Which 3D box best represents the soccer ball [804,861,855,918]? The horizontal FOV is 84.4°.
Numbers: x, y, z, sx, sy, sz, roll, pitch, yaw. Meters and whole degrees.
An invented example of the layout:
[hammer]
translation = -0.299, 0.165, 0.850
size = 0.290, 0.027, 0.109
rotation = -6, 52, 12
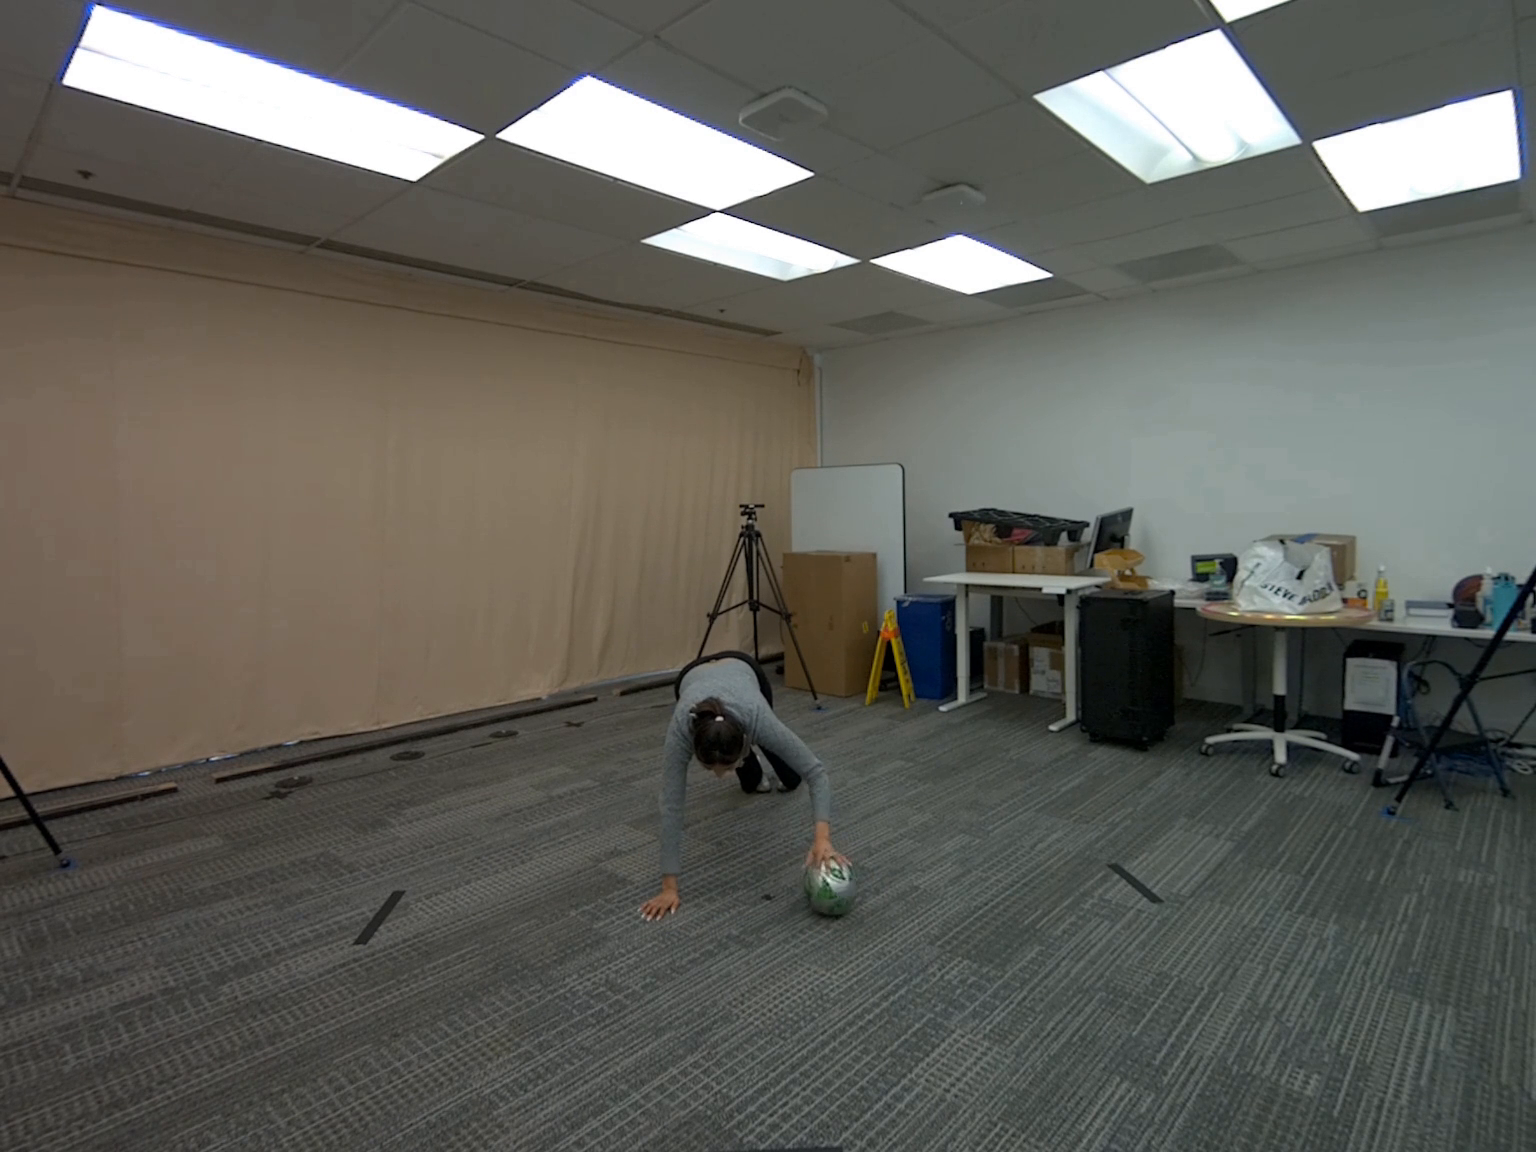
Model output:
[soccer ball]
translation = 0.207, 1.050, 2.863
size = 0.187, 0.187, 0.188
rotation = -1, 4, -2
